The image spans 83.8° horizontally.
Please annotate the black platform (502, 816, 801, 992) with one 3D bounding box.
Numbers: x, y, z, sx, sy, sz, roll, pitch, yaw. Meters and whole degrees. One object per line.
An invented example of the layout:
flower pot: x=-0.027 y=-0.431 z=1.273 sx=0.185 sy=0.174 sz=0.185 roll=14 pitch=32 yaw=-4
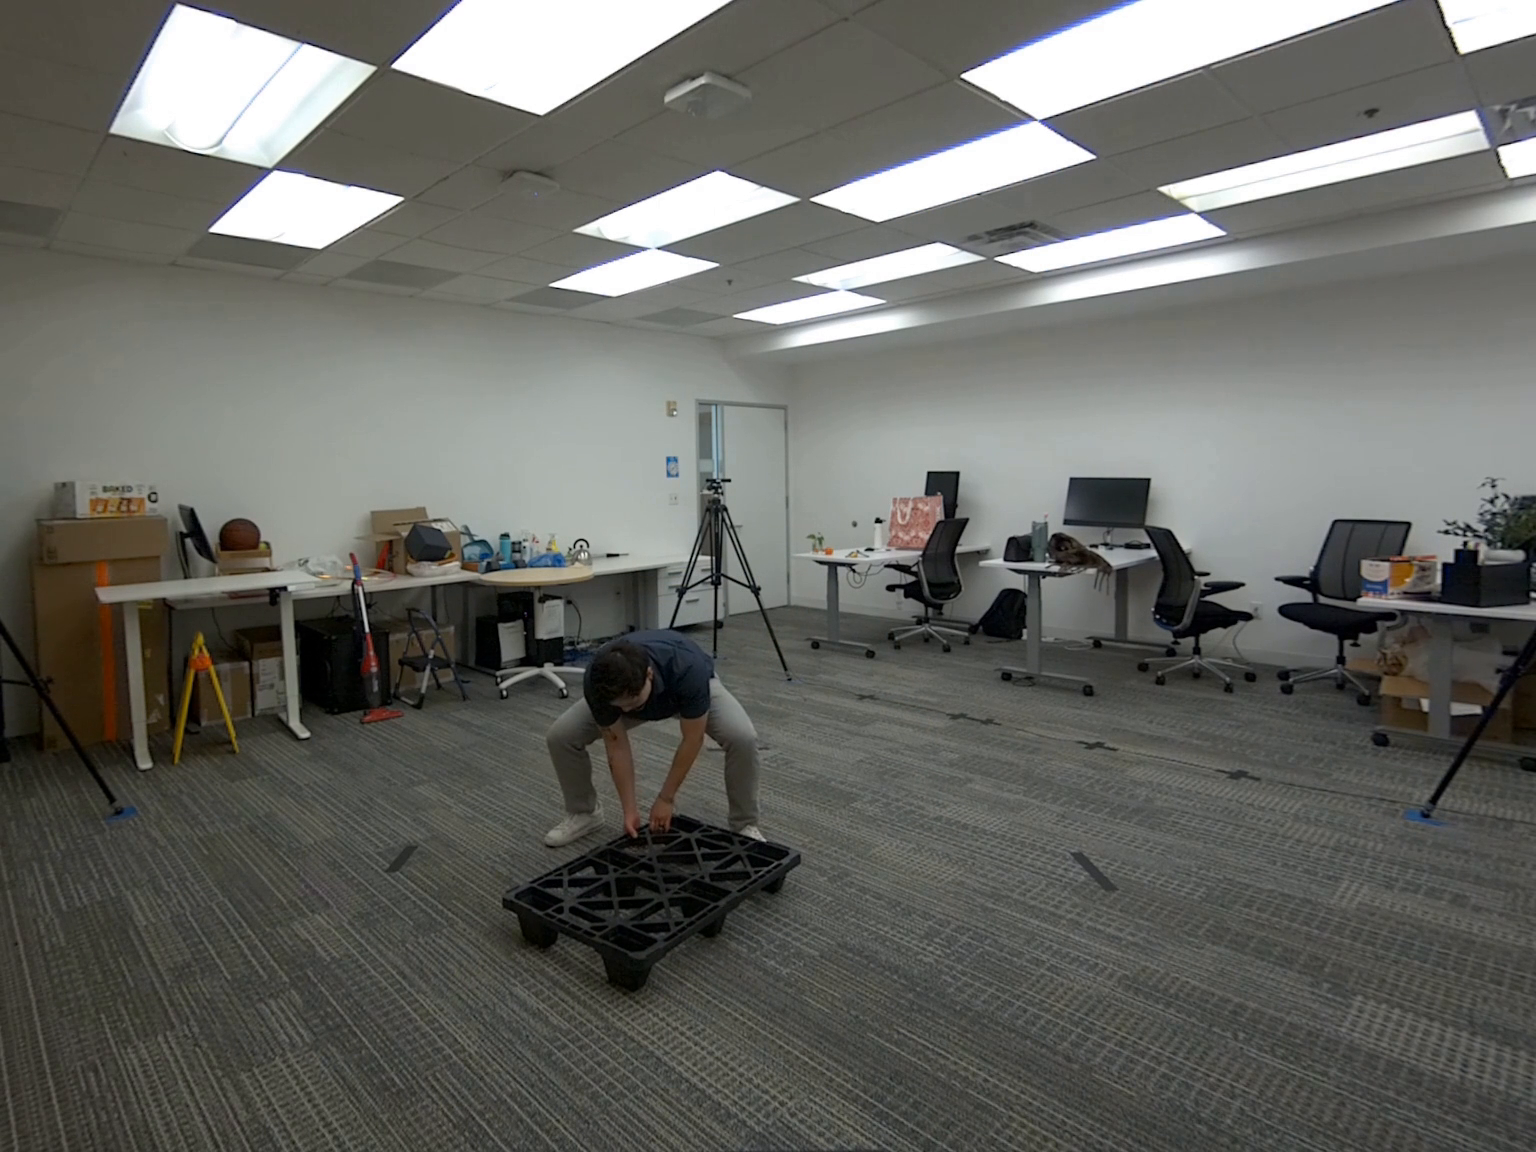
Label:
black platform: x=-0.353 y=1.024 z=2.759 sx=0.623 sy=0.142 sz=0.786 roll=3 pitch=8 yaw=36
